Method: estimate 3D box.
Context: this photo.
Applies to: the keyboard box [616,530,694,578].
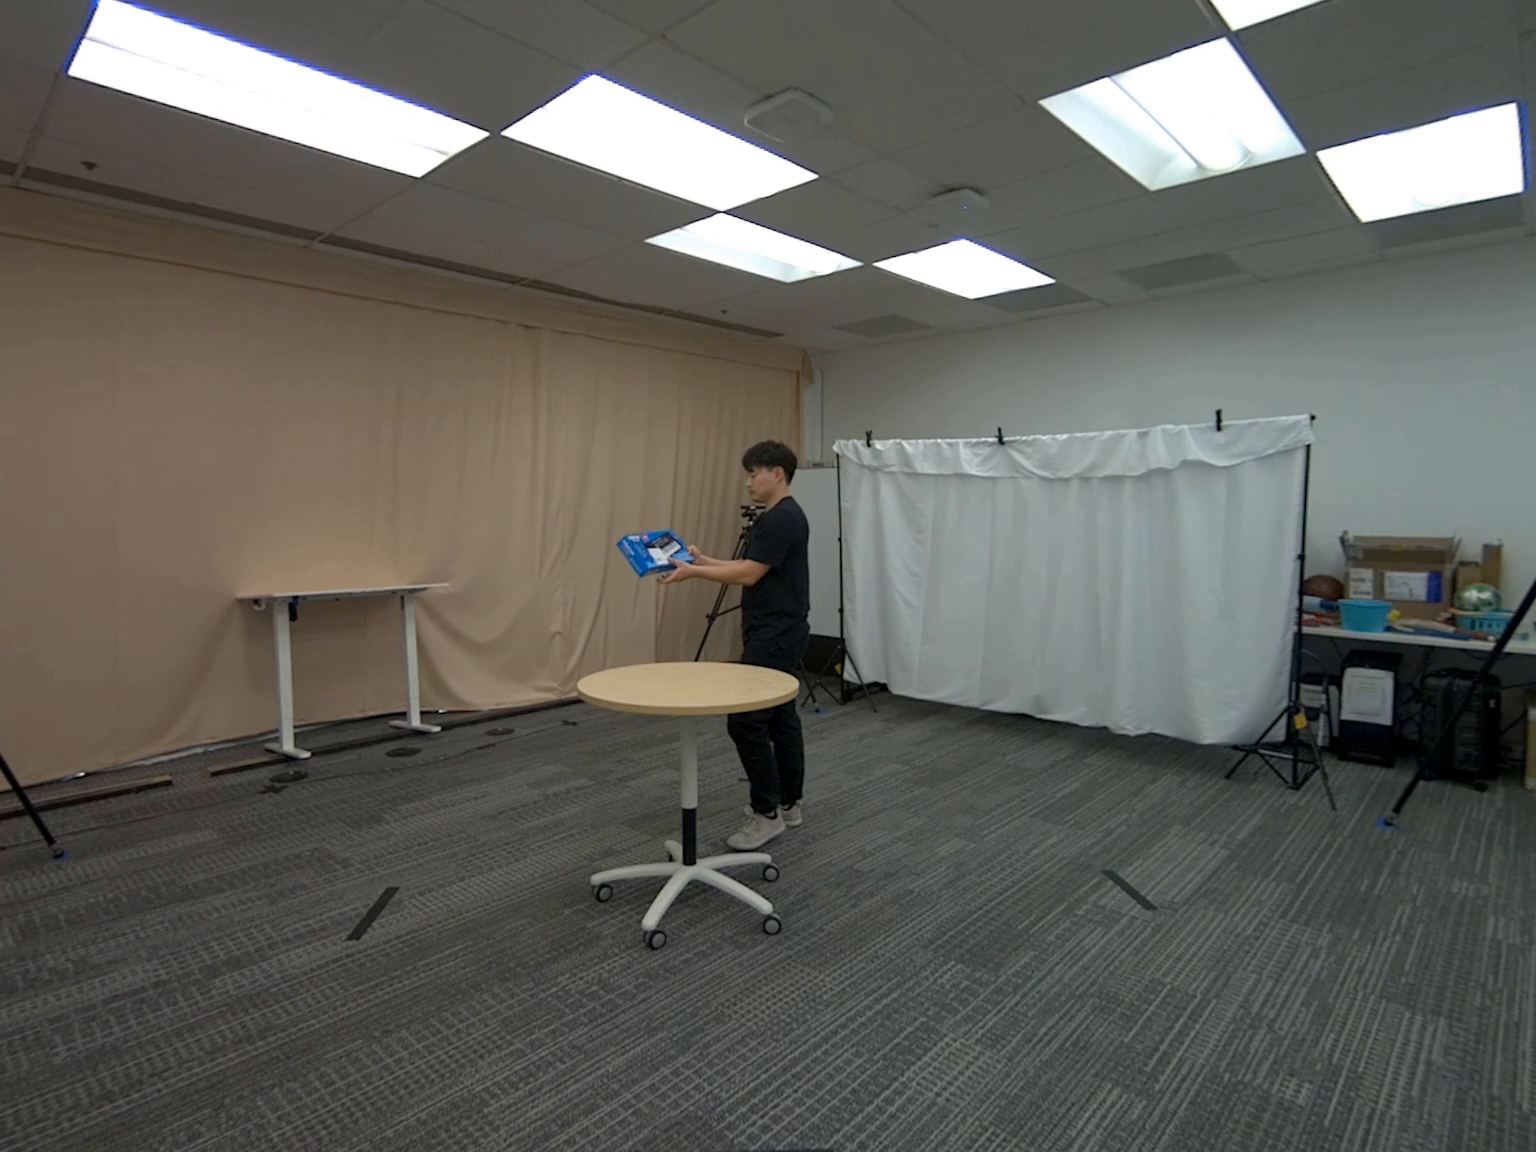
[{"bbox_3d":[-0.466,-0.092,3.573,0.059,0.178,0.428,-41,-9,20],"label":"keyboard box"}]
